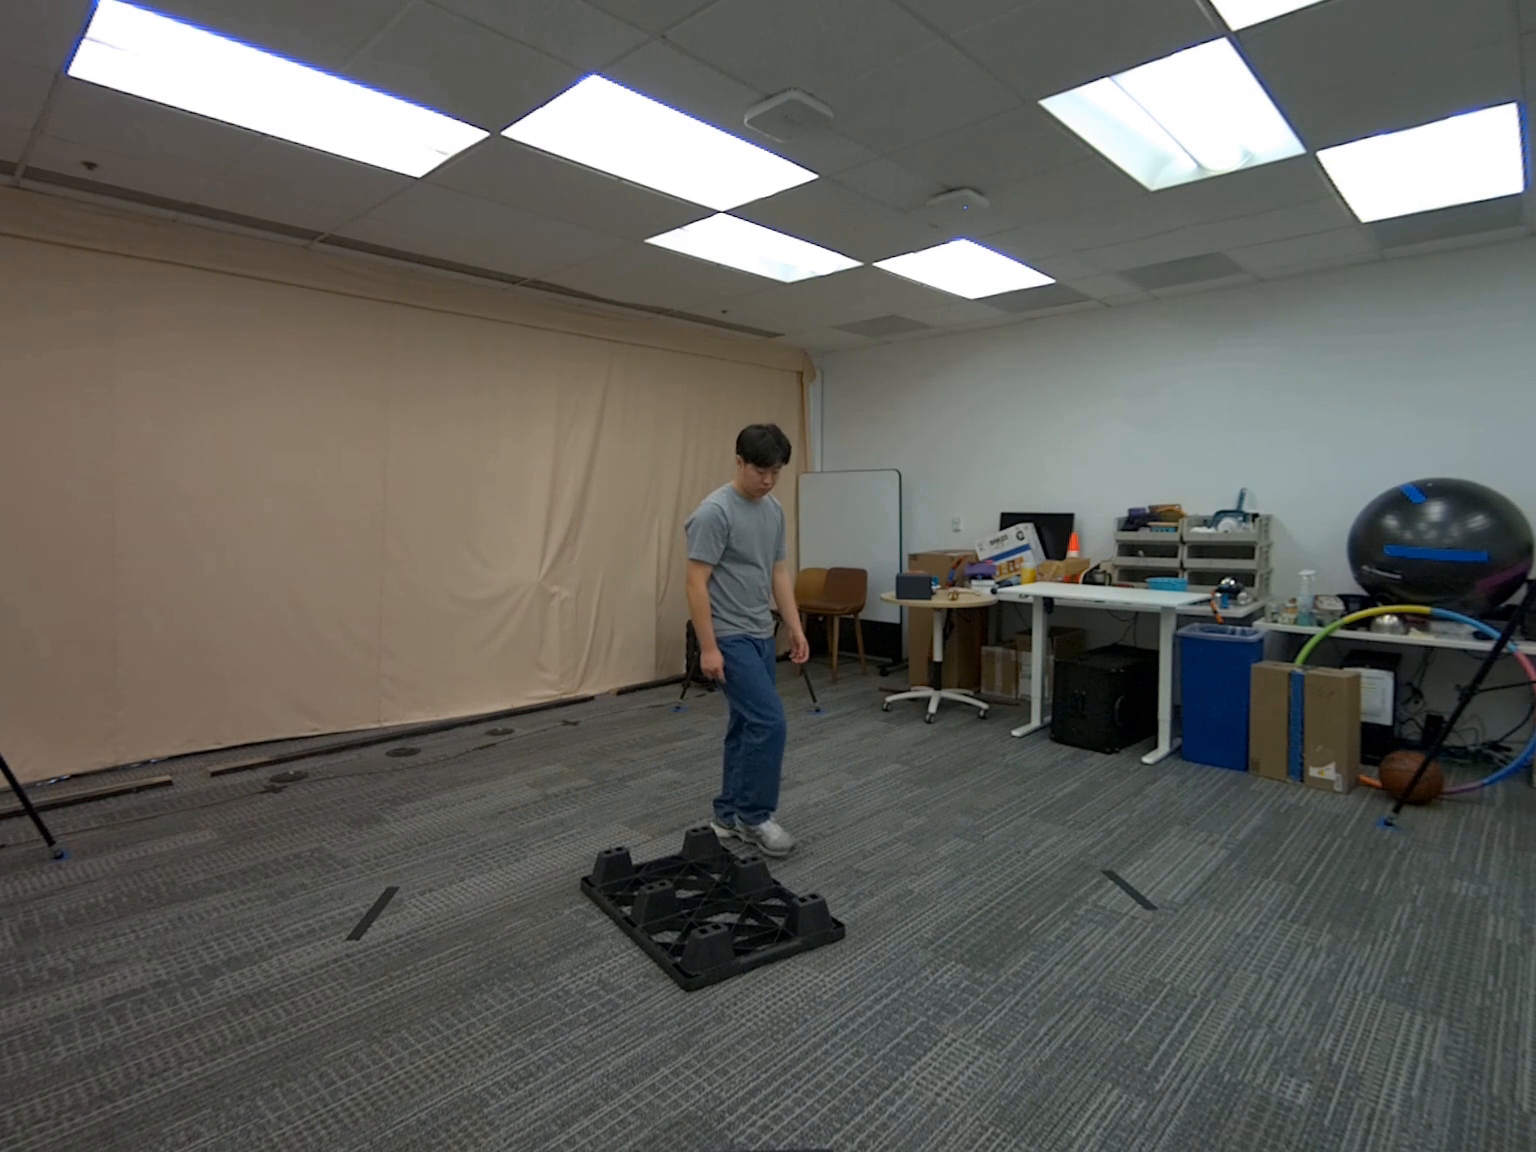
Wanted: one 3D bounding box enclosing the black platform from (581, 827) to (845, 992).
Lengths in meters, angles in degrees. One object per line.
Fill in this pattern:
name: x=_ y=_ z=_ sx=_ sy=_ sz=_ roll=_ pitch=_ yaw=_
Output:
black platform: x=-0.212 y=1.088 z=2.886 sx=0.588 sy=0.143 sz=0.831 roll=-4 pitch=6 yaw=-34
